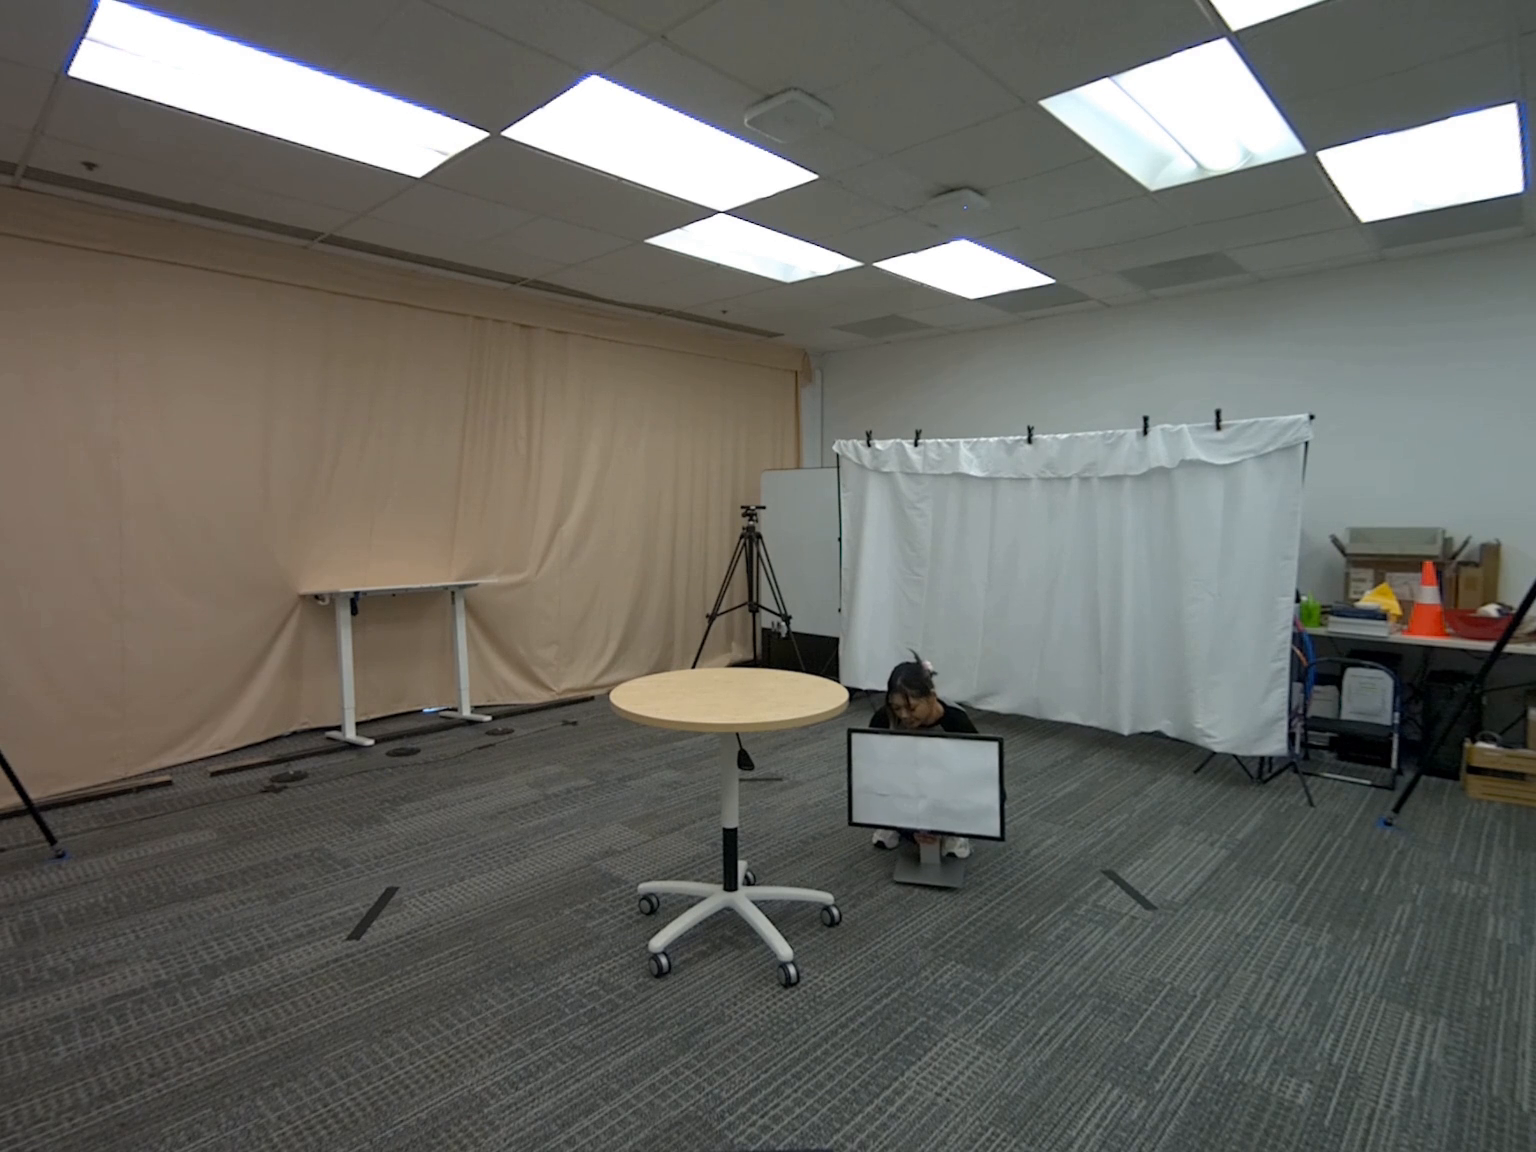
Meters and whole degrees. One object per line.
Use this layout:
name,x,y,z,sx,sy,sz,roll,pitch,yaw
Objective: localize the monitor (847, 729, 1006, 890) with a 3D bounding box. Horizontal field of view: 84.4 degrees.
monitor,0.582,0.837,3.107,0.550,0.520,0.184,1,7,19
